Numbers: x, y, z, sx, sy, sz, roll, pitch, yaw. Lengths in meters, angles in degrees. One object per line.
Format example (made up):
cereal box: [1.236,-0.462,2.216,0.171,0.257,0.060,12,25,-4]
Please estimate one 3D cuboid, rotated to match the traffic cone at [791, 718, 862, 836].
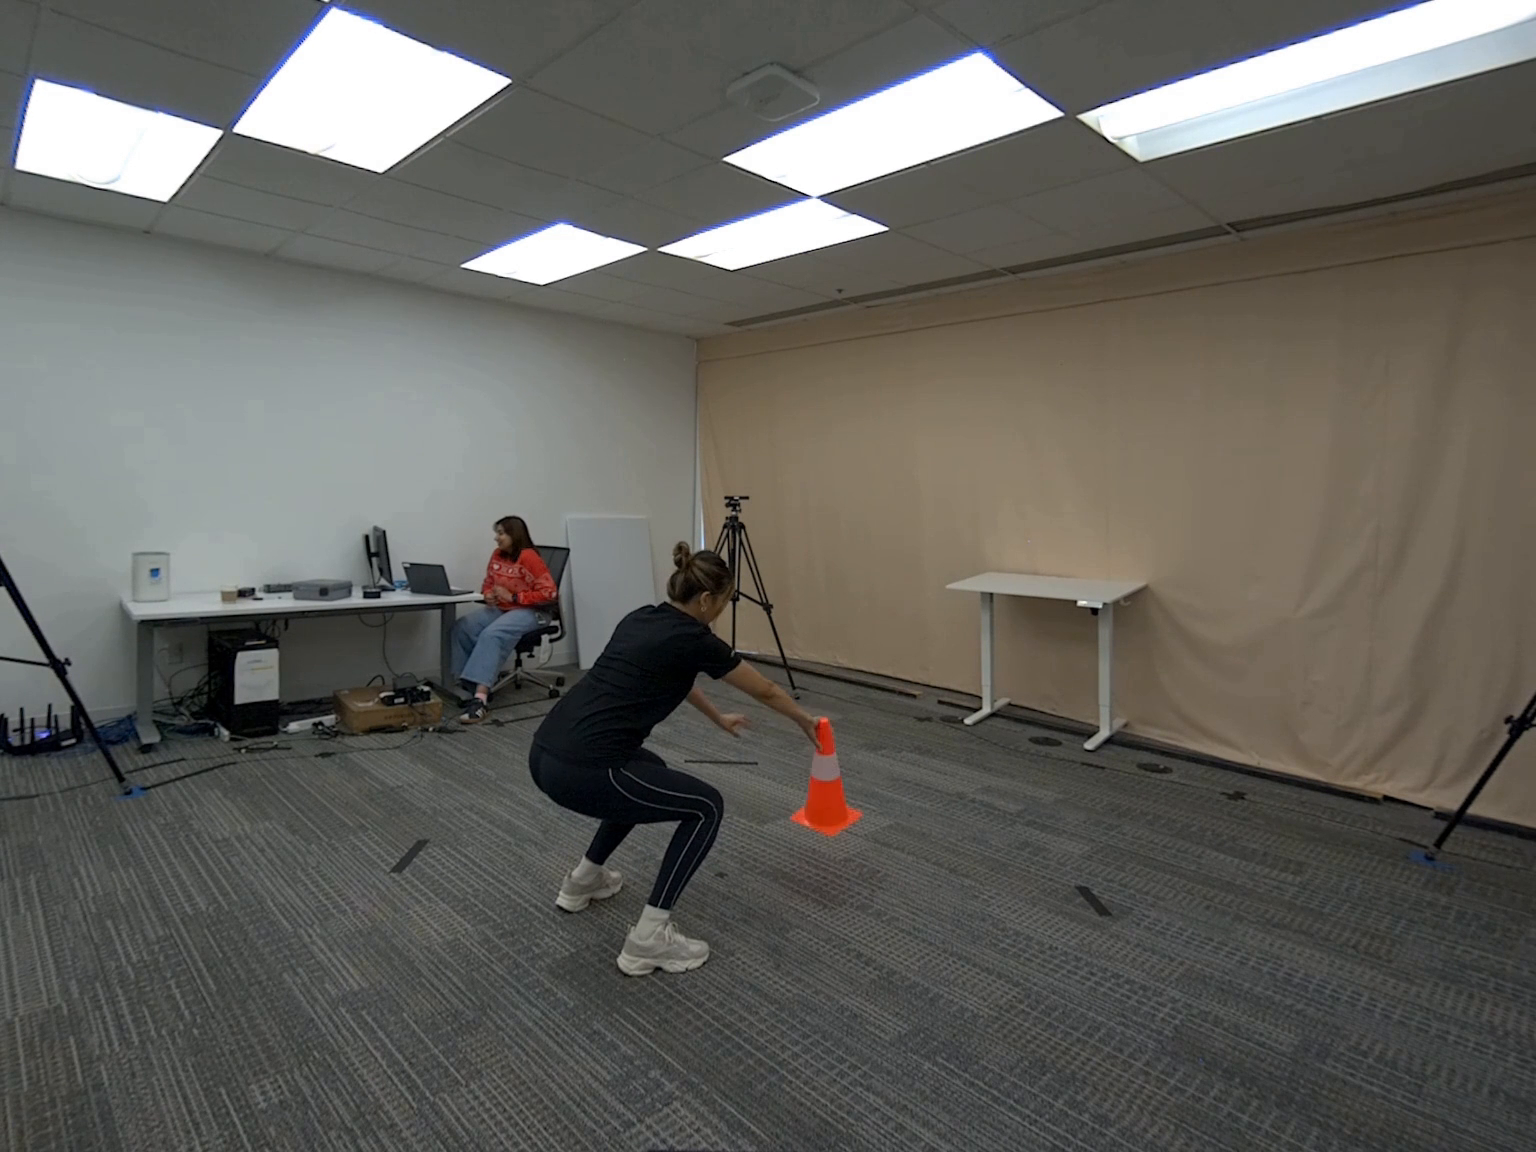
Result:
traffic cone: [0.187,0.683,3.031,0.208,0.380,0.203,3,14,29]
